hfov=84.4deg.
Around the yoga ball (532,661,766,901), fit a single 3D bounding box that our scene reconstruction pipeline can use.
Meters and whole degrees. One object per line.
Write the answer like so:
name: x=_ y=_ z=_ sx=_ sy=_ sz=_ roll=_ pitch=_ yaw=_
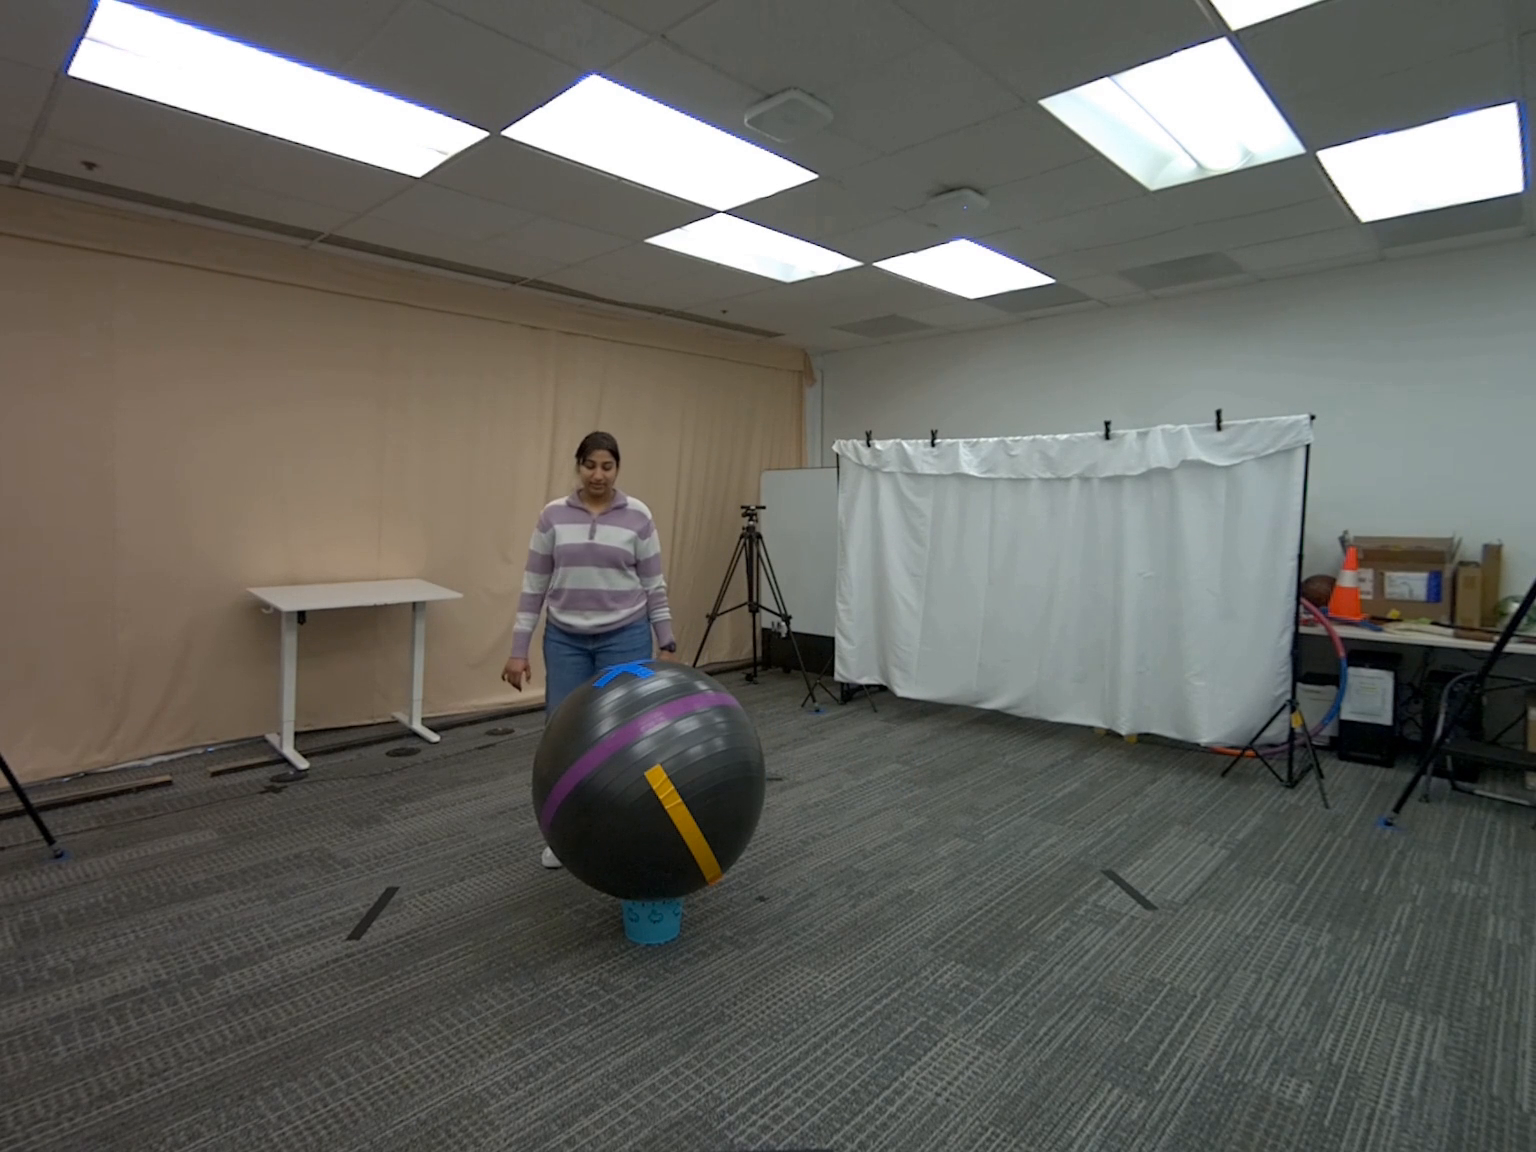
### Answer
yoga ball: x=-0.391 y=0.657 z=2.746 sx=0.757 sy=0.756 sz=0.760 roll=0 pitch=4 yaw=-2
